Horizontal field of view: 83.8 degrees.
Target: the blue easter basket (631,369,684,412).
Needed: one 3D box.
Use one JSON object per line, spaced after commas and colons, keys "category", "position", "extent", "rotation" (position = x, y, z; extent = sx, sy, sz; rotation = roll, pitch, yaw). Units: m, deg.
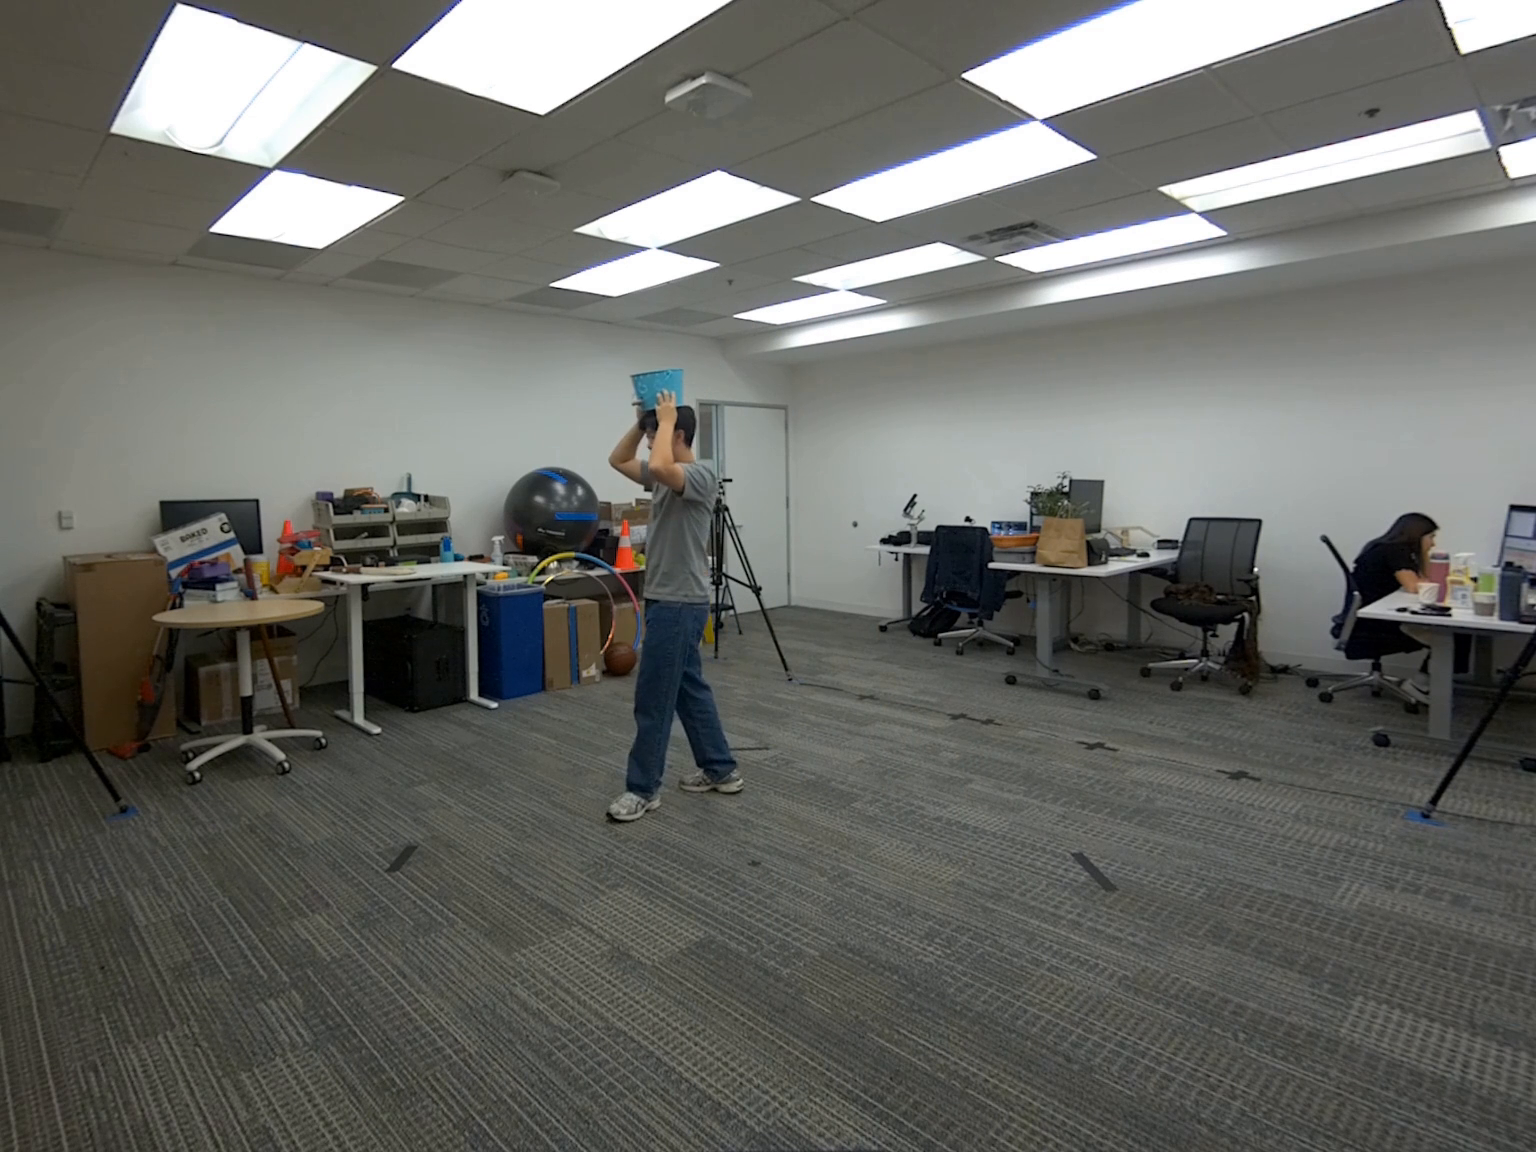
{"category": "blue easter basket", "position": [-0.467, -0.787, 3.590], "extent": [0.244, 0.154, 0.246], "rotation": [-9, 9, 0]}
